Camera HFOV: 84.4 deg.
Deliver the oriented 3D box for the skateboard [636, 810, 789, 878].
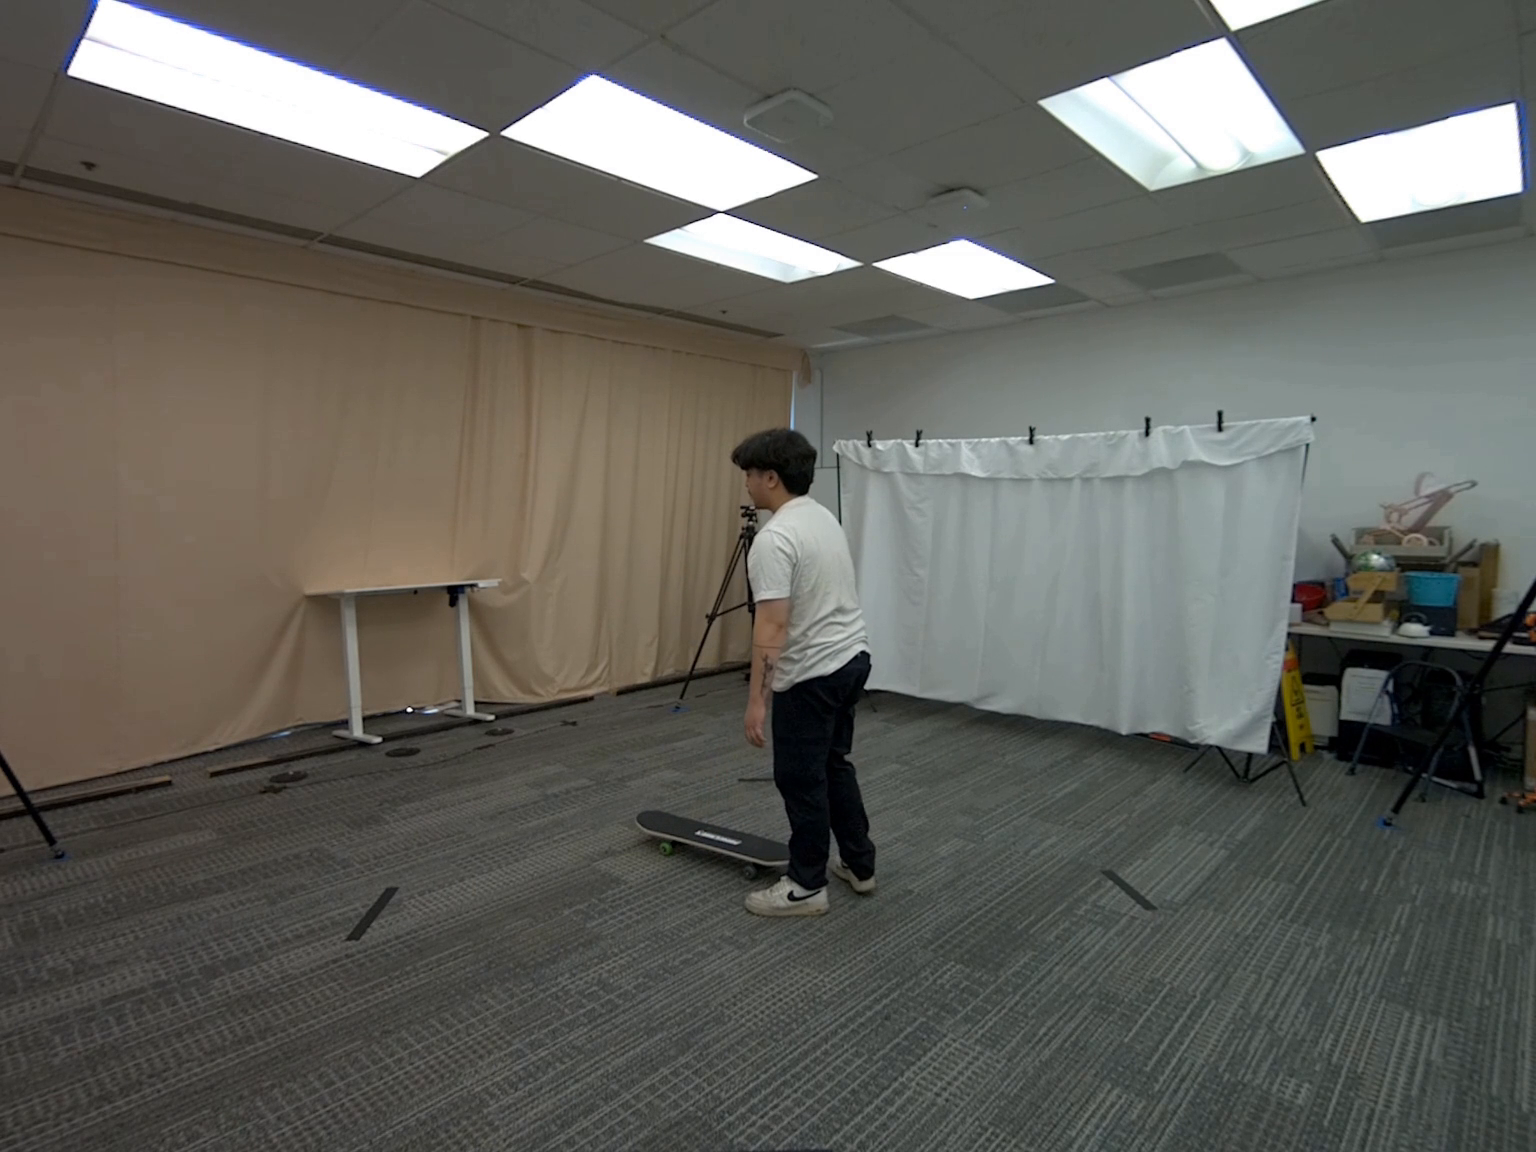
[{"bbox_3d":[-0.194,1.062,3.320,0.809,0.110,0.188,3,6,32],"label":"skateboard"}]
